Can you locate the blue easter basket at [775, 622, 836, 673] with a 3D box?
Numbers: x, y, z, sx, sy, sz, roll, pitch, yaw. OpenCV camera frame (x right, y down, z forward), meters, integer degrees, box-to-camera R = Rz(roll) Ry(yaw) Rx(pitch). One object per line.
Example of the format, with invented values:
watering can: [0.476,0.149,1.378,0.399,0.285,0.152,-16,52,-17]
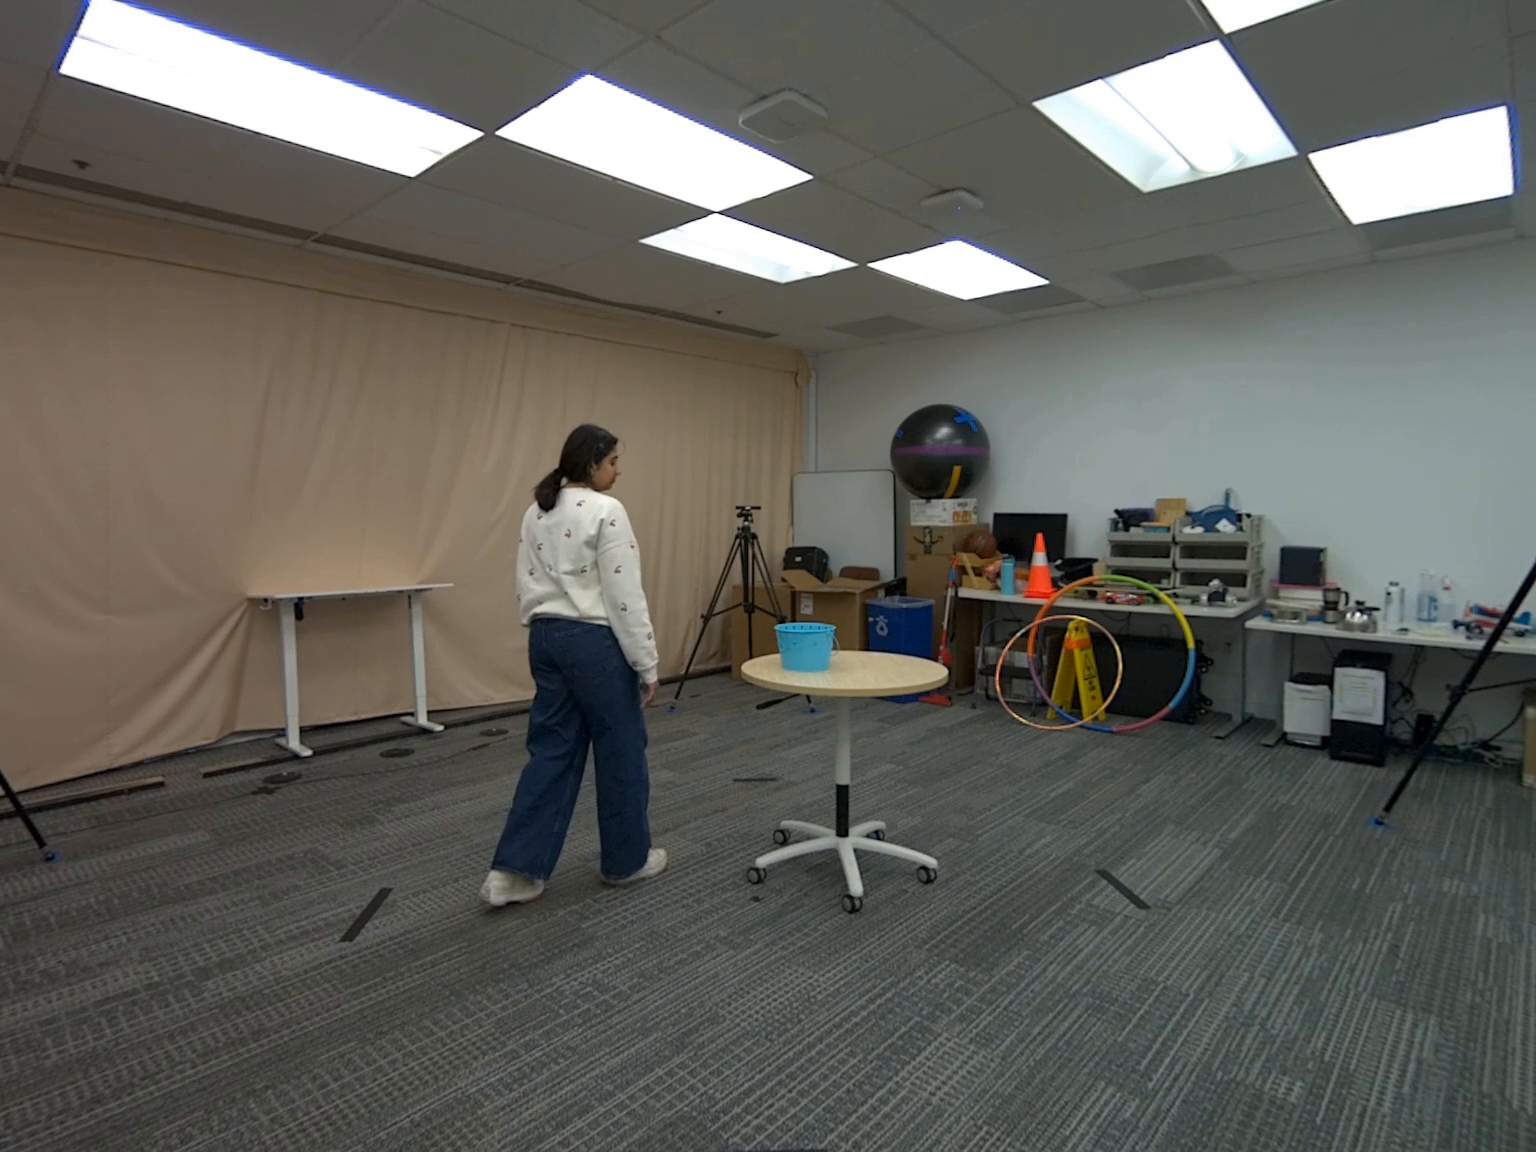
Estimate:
blue easter basket: [0.152,0.273,3.178,0.243,0.155,0.244,-1,4,-2]
